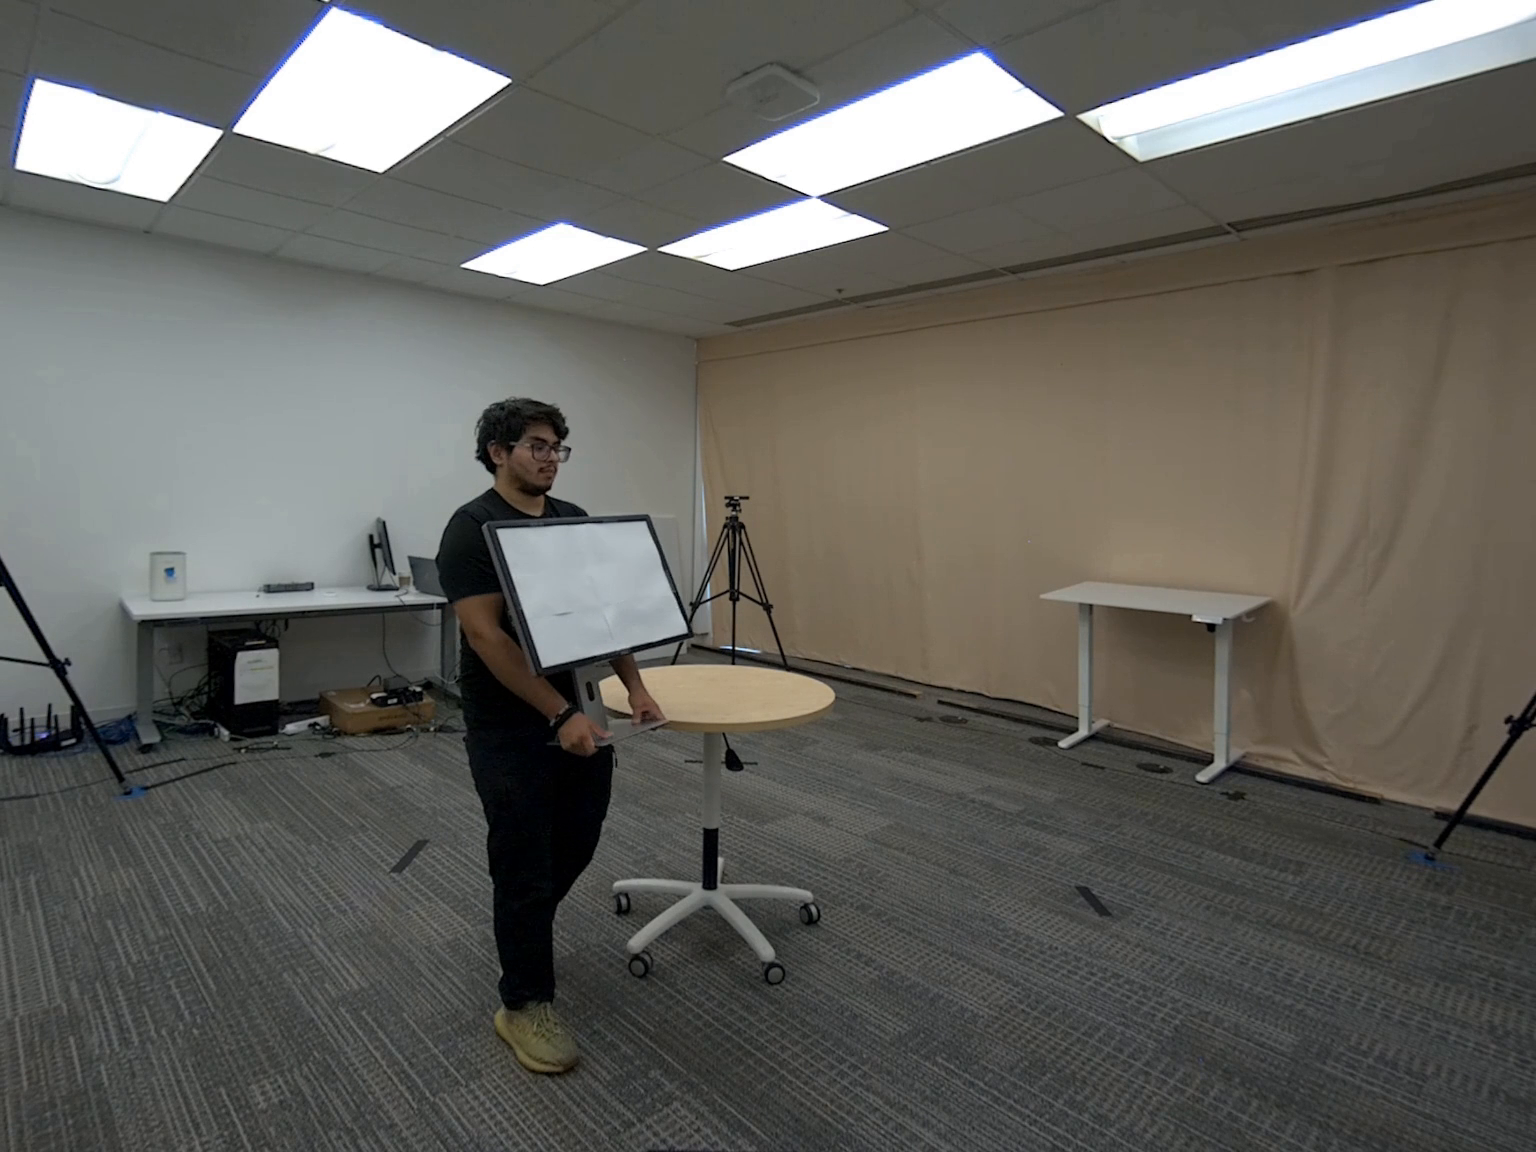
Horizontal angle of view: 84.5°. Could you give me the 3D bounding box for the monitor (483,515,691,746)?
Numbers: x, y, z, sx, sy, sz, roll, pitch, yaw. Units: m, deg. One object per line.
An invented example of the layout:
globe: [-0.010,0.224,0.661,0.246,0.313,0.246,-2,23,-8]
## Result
monitor: [-0.455,0.131,2.097,0.213,0.557,0.554,-20,-7,33]
